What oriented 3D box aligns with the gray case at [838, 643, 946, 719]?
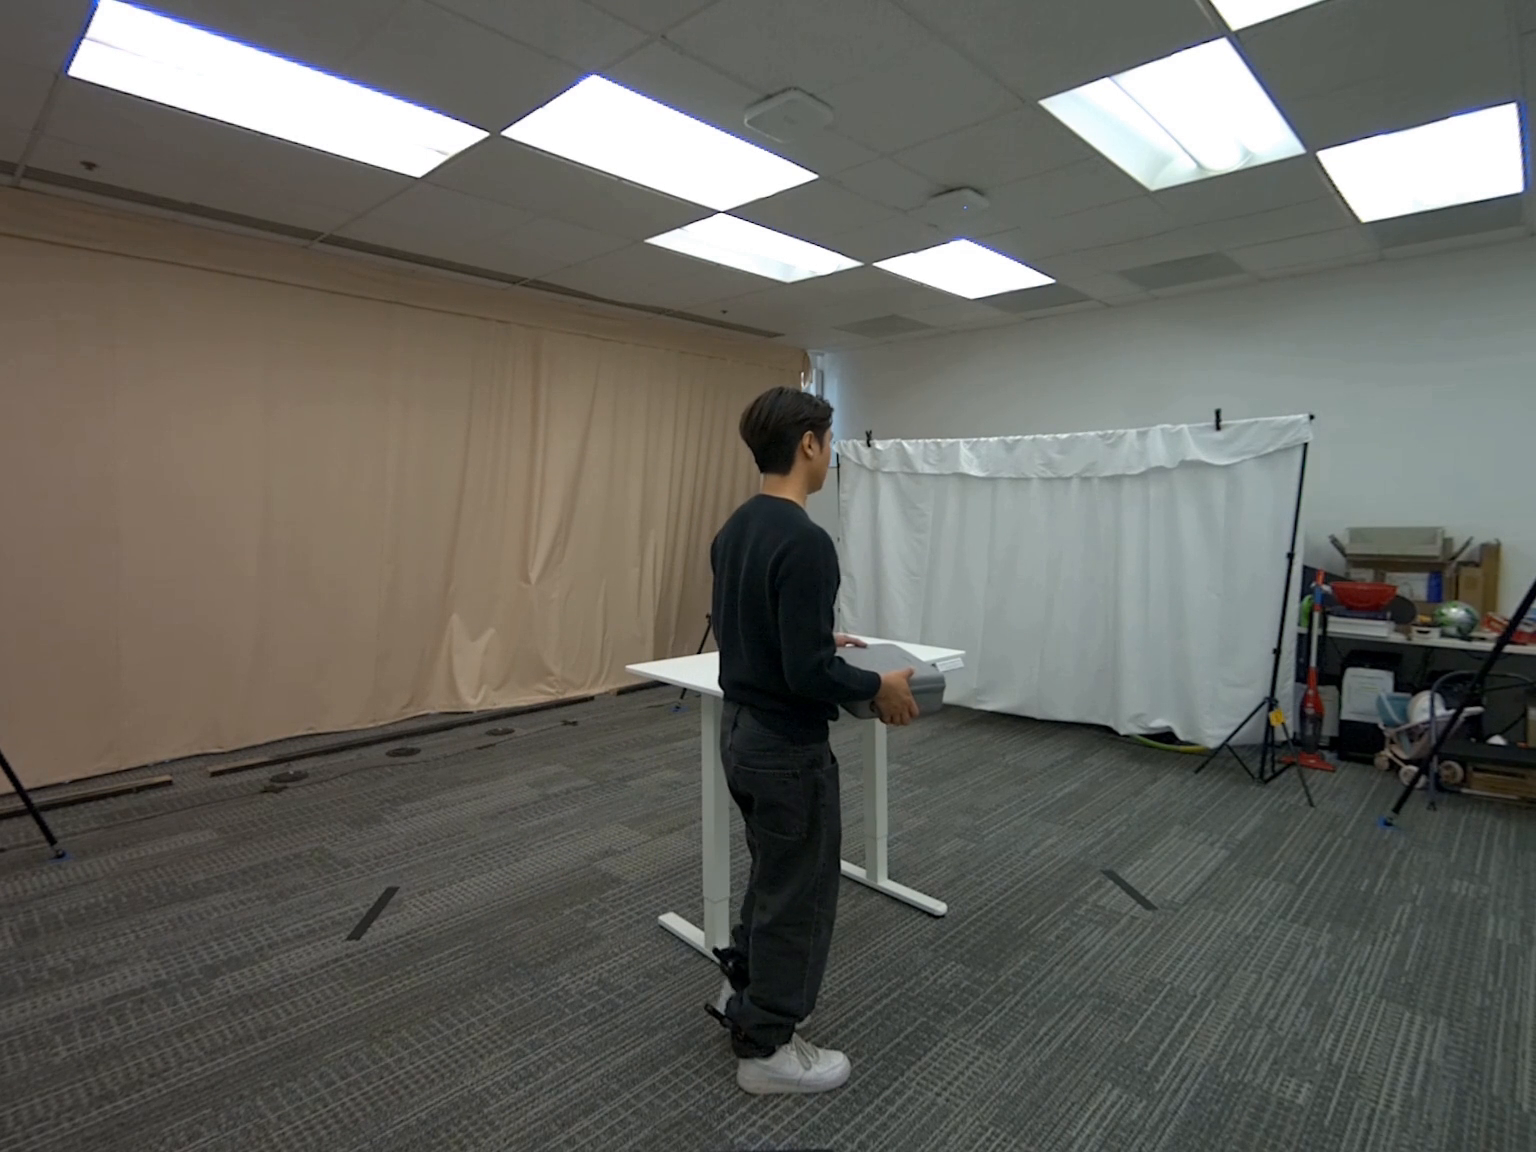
[{"bbox_3d":[0.283,0.261,2.083,0.255,0.103,0.264,-2,15,-22],"label":"gray case"}]
